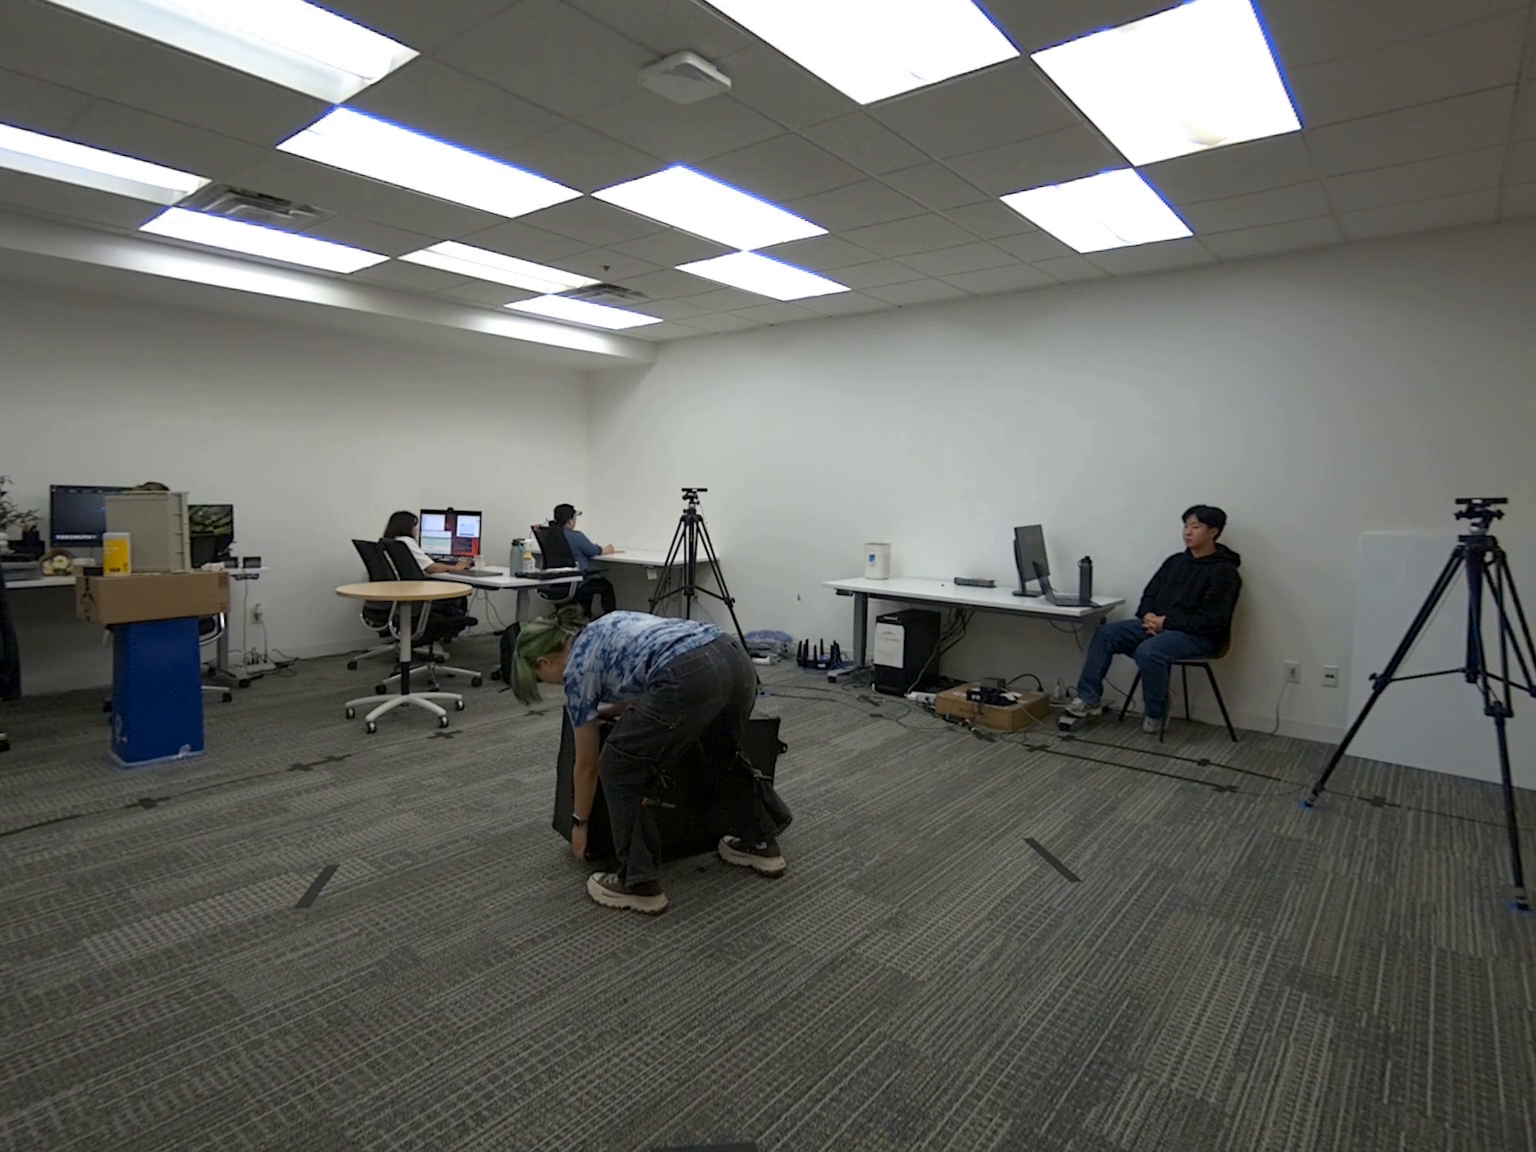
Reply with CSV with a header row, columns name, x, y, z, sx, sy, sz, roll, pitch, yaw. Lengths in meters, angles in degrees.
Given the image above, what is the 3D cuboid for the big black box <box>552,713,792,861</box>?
name,x,y,z,sx,sy,sz,roll,pitch,yaw
big black box,-0.380,0.764,3.364,0.836,0.521,0.408,4,1,-32
